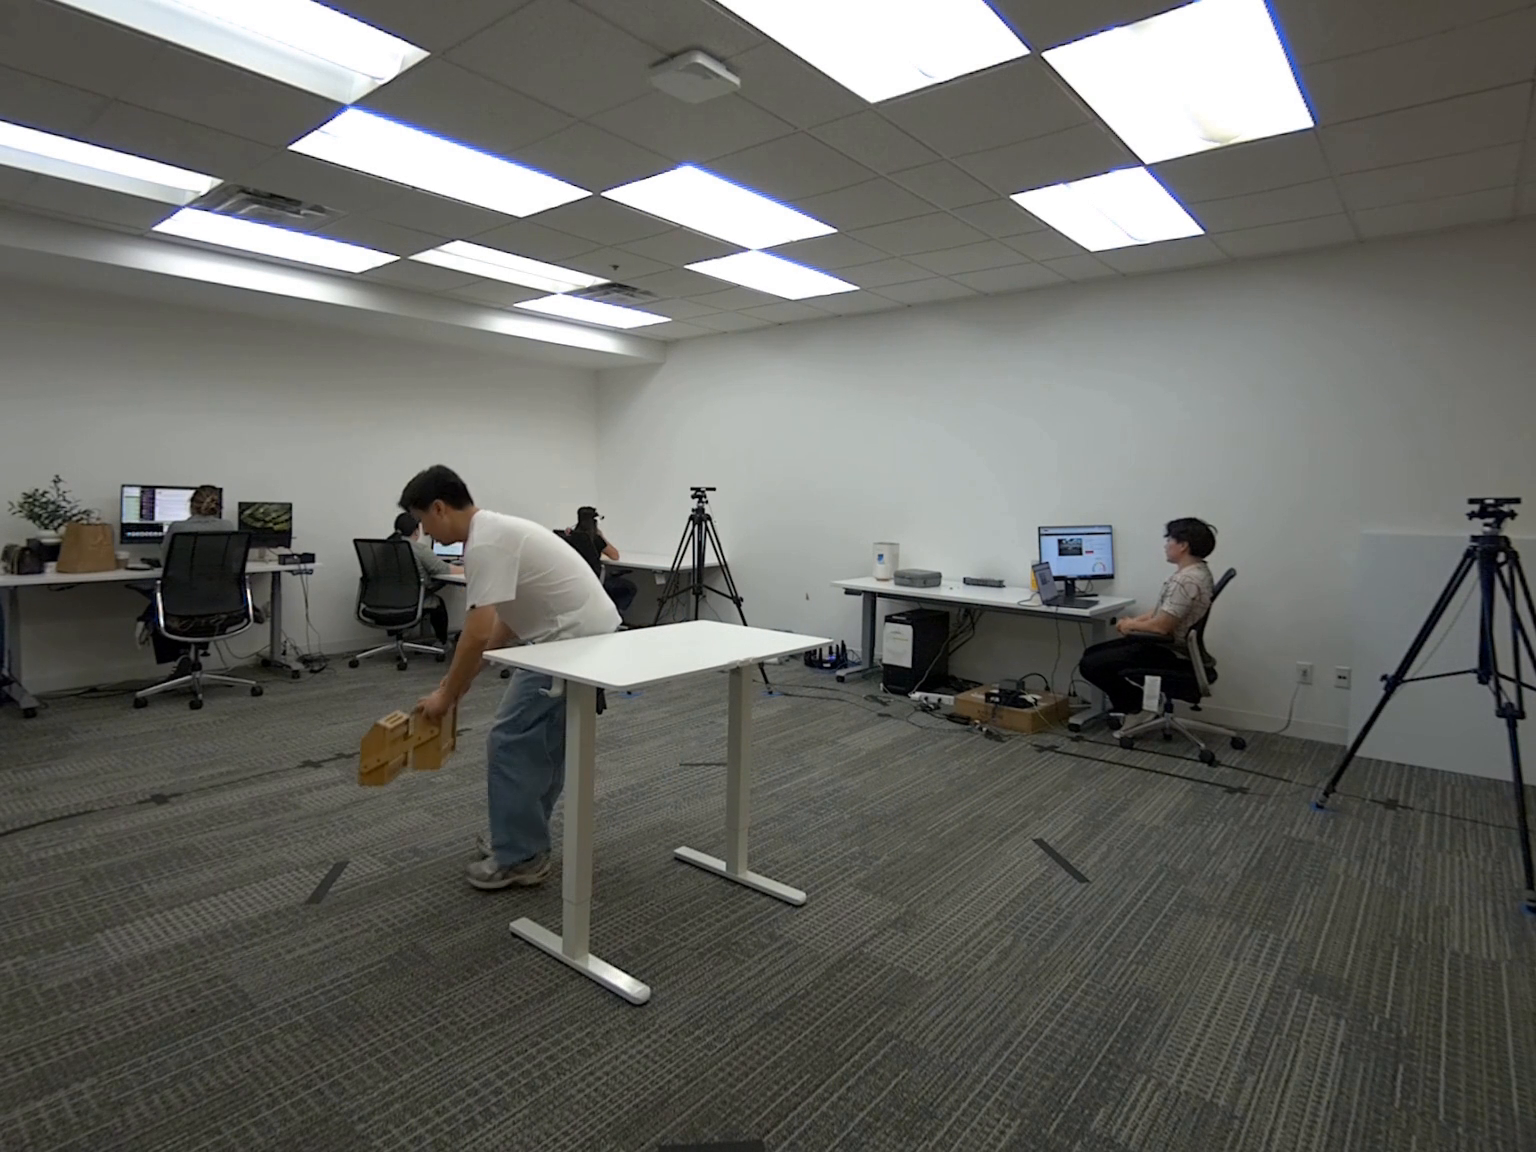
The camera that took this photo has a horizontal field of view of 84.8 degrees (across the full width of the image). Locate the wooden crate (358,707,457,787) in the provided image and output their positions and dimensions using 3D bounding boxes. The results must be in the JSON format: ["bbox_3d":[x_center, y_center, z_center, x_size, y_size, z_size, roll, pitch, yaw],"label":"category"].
[{"bbox_3d":[-1.271,0.543,2.968,0.271,0.303,0.326,3,-3,-10],"label":"wooden crate"}]
